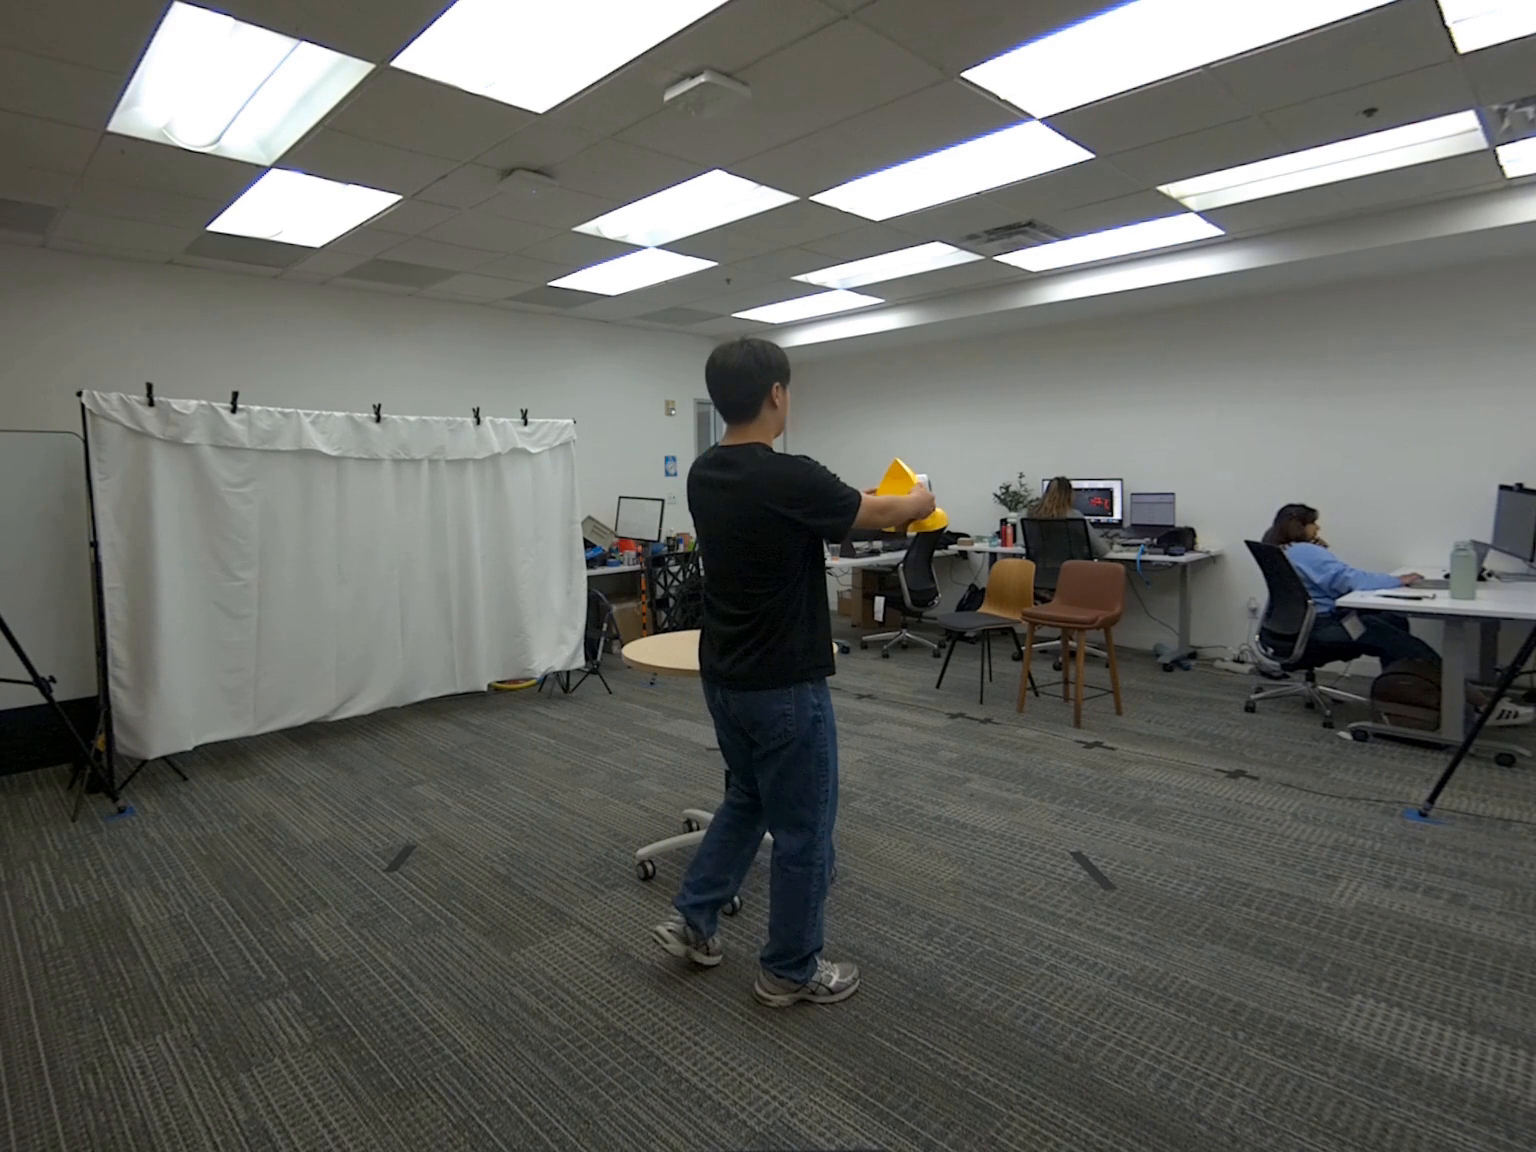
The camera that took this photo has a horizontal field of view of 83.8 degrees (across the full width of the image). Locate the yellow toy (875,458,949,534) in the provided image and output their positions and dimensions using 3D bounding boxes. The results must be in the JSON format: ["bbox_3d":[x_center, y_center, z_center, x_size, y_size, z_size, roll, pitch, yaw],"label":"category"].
[{"bbox_3d":[0.450,-0.265,2.669,0.211,0.228,0.189,3,15,45],"label":"yellow toy"}]
